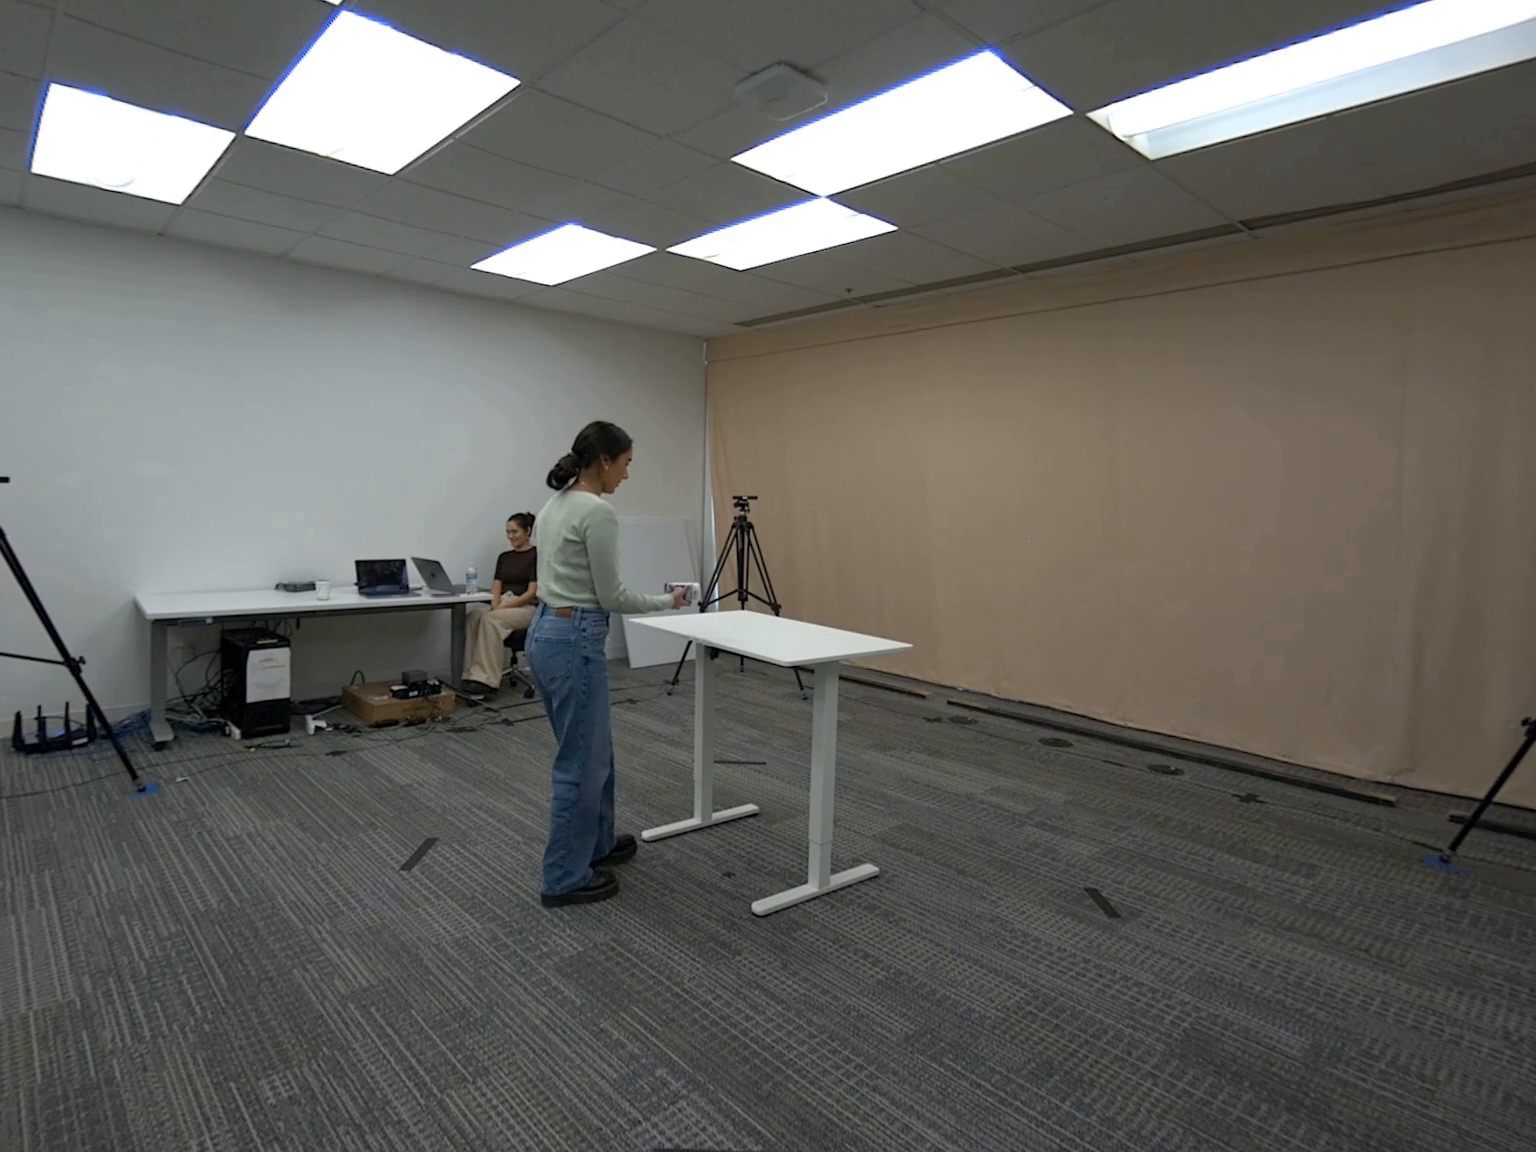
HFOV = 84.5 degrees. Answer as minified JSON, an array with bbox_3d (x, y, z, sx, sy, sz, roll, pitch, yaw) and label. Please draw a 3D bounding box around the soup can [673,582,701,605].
[{"bbox_3d":[-0.312,0.055,3.027,0.121,0.067,0.067,2,4,-4],"label":"soup can"}]
